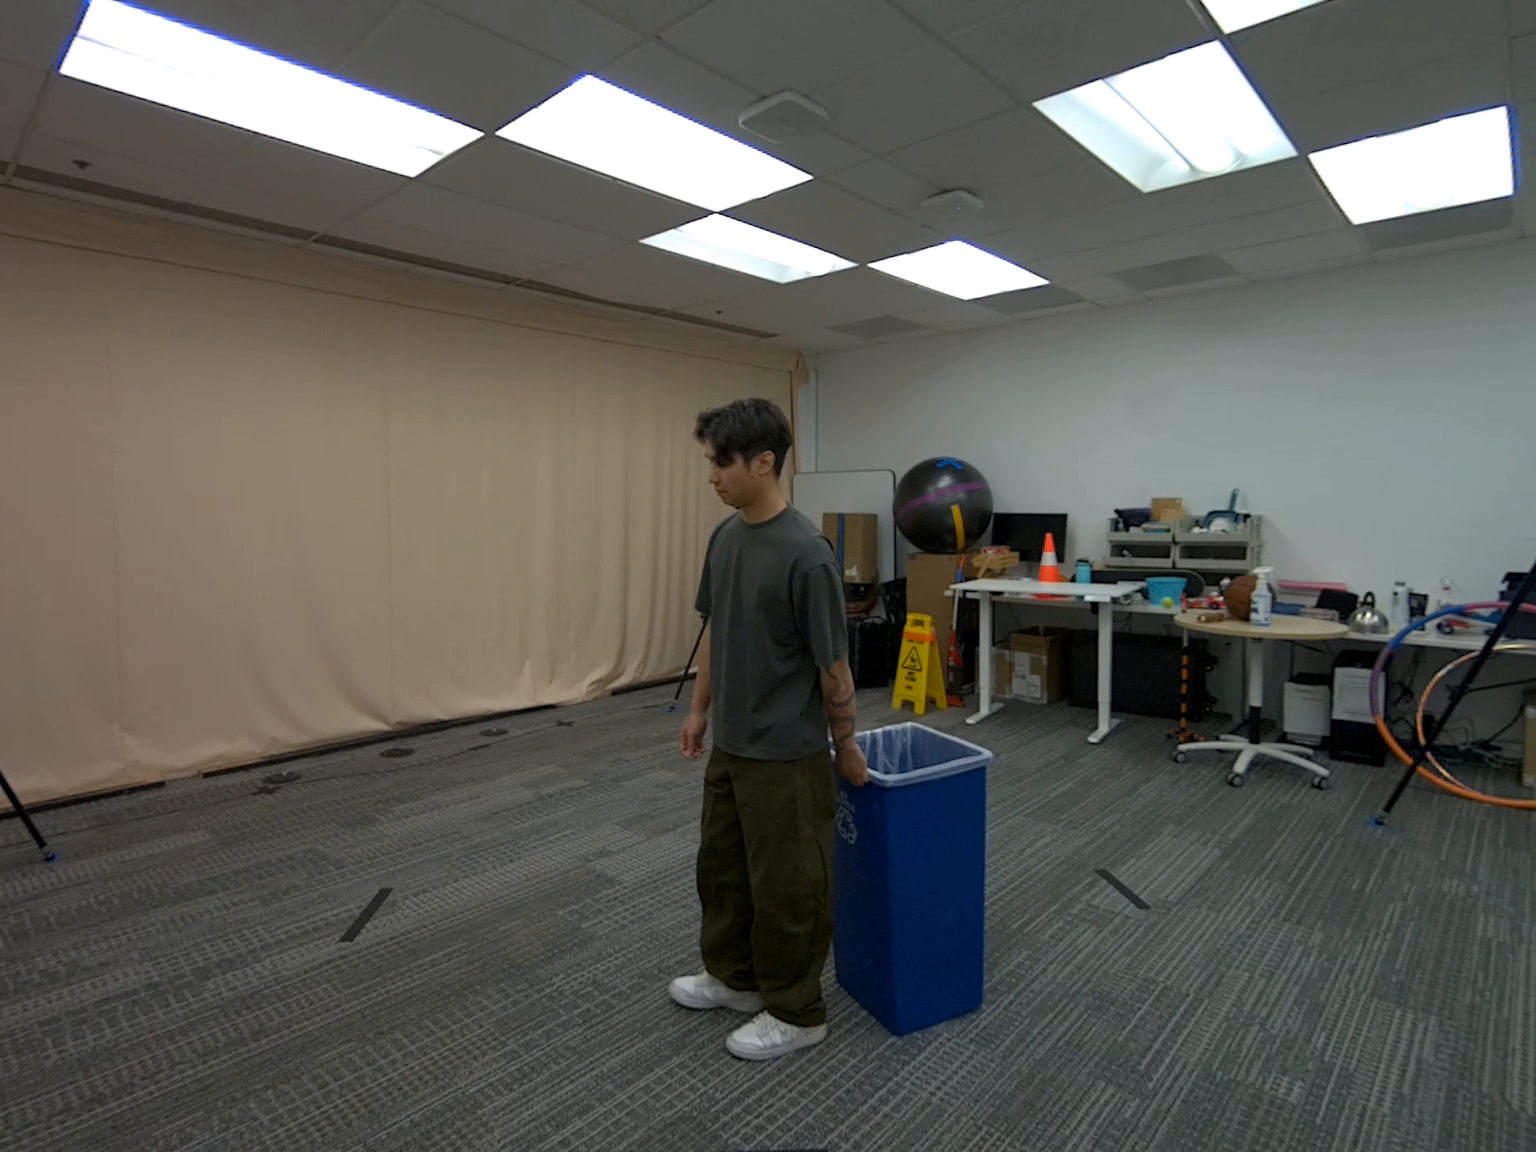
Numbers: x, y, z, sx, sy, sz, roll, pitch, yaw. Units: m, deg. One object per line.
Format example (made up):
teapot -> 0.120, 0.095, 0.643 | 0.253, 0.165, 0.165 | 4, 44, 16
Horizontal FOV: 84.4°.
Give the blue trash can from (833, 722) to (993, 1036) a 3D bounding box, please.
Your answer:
blue trash can -> 0.397, 0.833, 2.362 | 0.369, 0.711, 0.384 | -5, 5, -26
